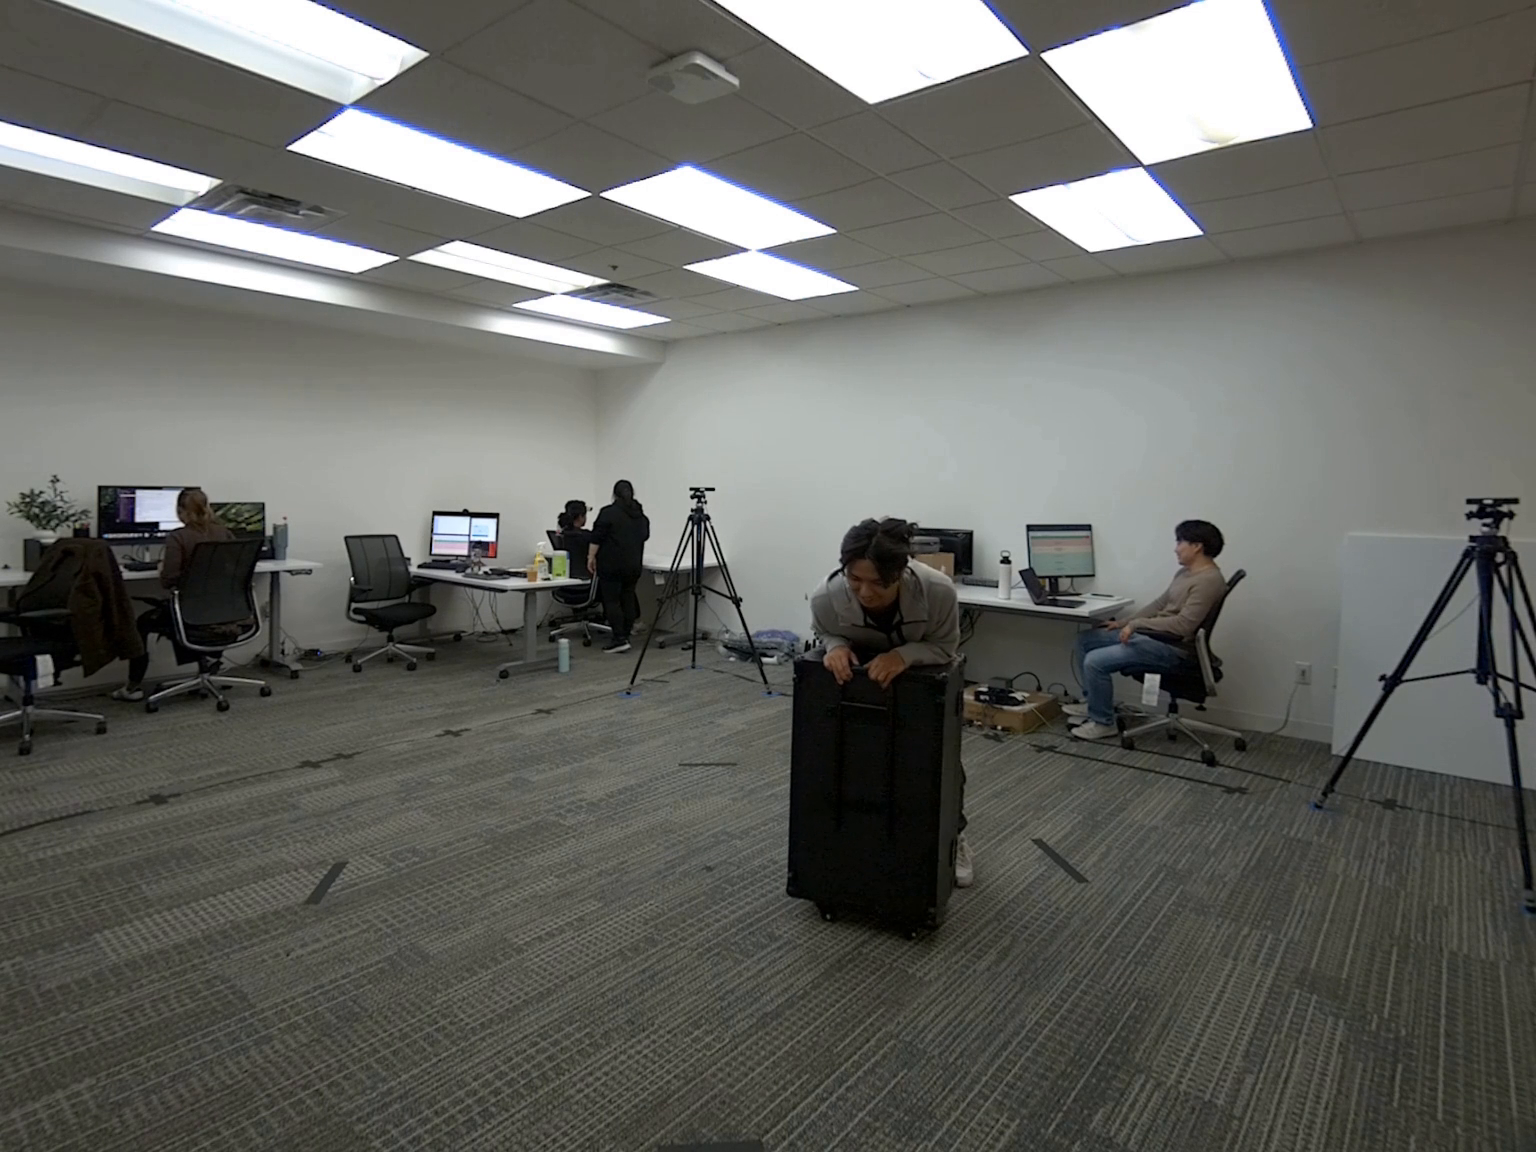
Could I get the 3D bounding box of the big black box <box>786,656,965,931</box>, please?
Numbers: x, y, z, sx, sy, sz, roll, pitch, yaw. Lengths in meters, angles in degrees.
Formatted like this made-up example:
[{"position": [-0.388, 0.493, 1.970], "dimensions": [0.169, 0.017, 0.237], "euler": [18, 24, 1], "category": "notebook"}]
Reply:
[{"position": [0.352, 0.690, 2.788], "dimensions": [0.535, 0.858, 0.388], "euler": [3, 5, 25], "category": "big black box"}]
